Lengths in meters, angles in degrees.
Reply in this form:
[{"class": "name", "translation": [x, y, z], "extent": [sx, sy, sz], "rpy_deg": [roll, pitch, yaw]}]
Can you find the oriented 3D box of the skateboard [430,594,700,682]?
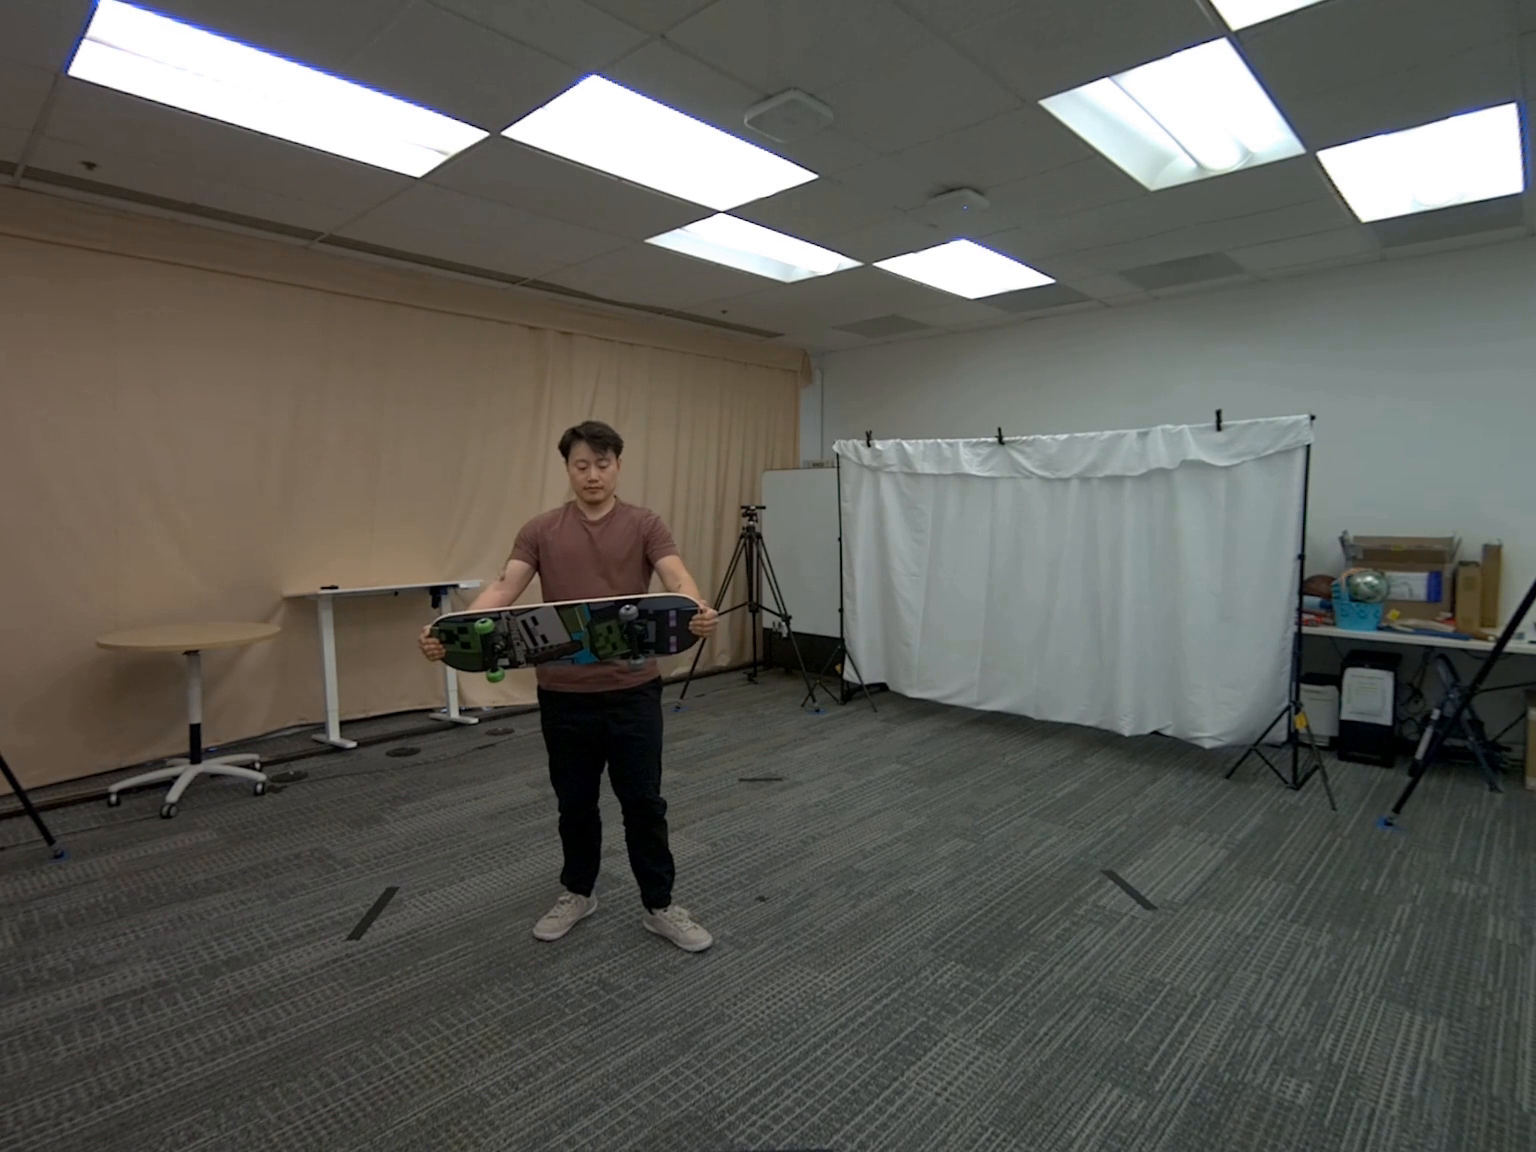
[{"class": "skateboard", "translation": [-0.562, 0.179, 2.319], "extent": [0.788, 0.190, 0.112], "rpy_deg": [-6, 23, 3]}]
